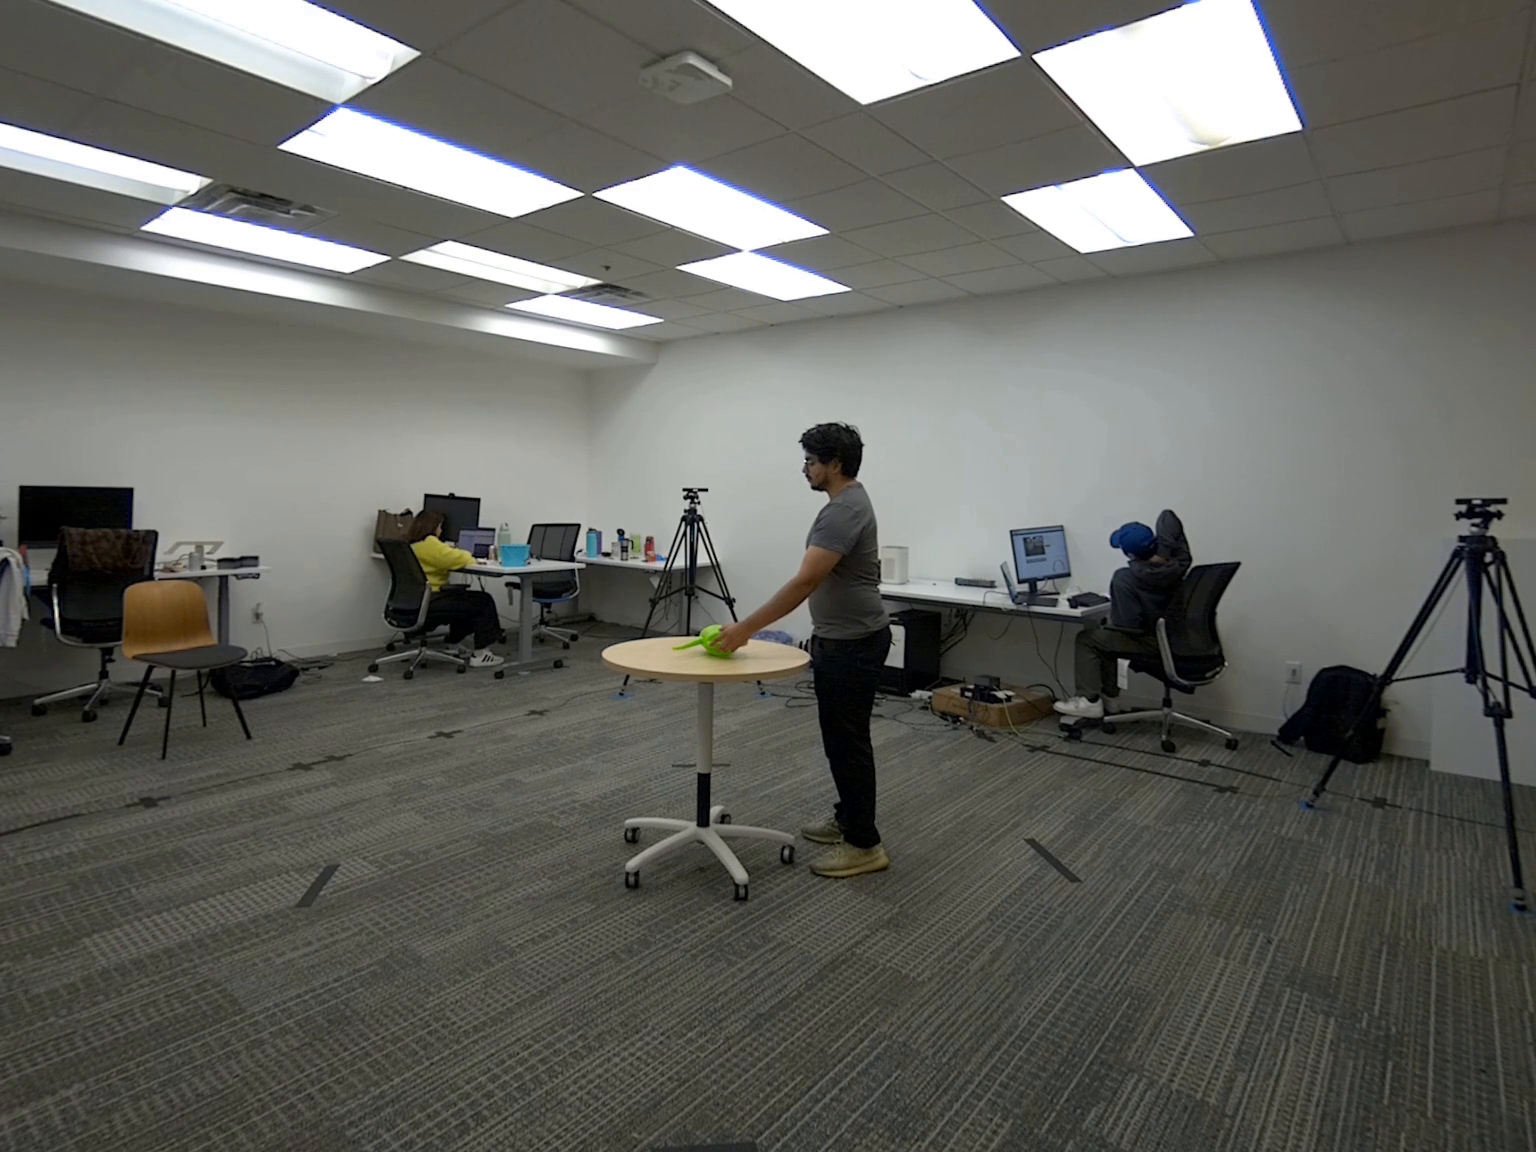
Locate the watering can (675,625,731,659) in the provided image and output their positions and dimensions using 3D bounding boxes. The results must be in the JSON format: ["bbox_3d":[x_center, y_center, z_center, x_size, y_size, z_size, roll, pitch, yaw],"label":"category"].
[{"bbox_3d":[-0.226,0.228,3.127,0.275,0.098,0.179,6,1,-9],"label":"watering can"}]
